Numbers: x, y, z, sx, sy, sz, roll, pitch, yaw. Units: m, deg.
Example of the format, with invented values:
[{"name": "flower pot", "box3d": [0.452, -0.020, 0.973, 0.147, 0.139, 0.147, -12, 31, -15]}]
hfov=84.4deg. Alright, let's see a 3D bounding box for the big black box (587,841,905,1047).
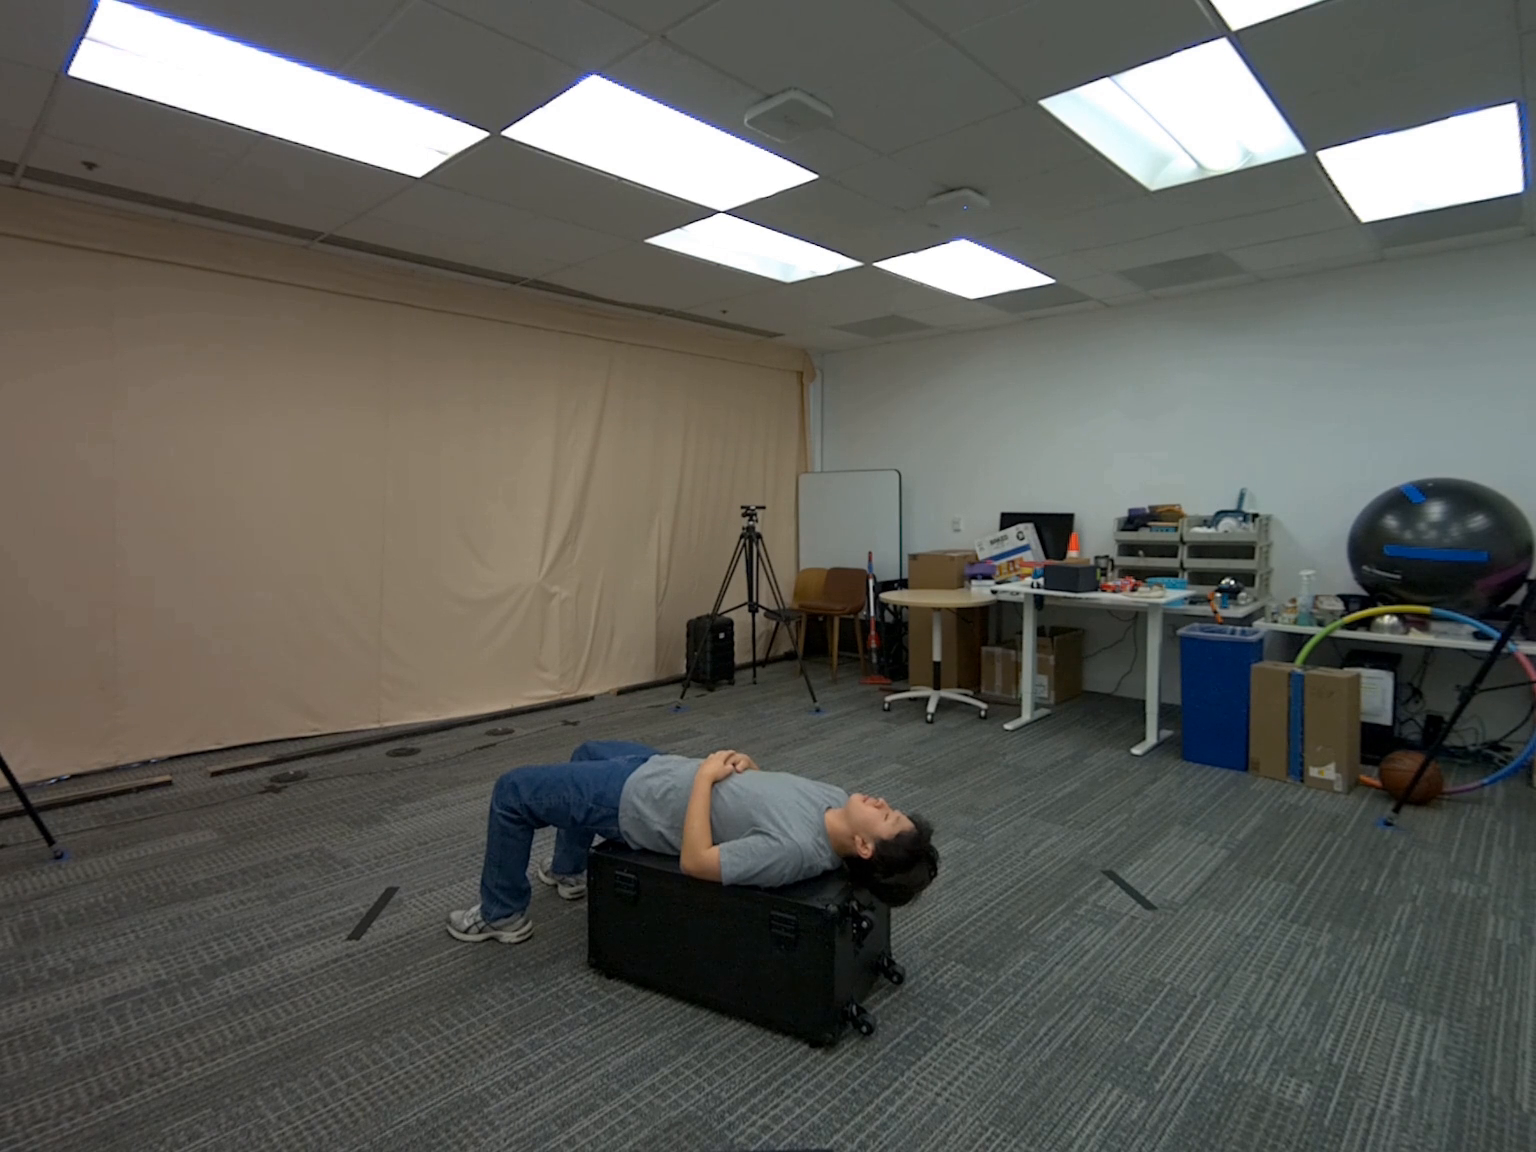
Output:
[{"name": "big black box", "box3d": [-0.052, 1.003, 2.498, 0.885, 0.395, 0.508, 2, 4, 28]}]
